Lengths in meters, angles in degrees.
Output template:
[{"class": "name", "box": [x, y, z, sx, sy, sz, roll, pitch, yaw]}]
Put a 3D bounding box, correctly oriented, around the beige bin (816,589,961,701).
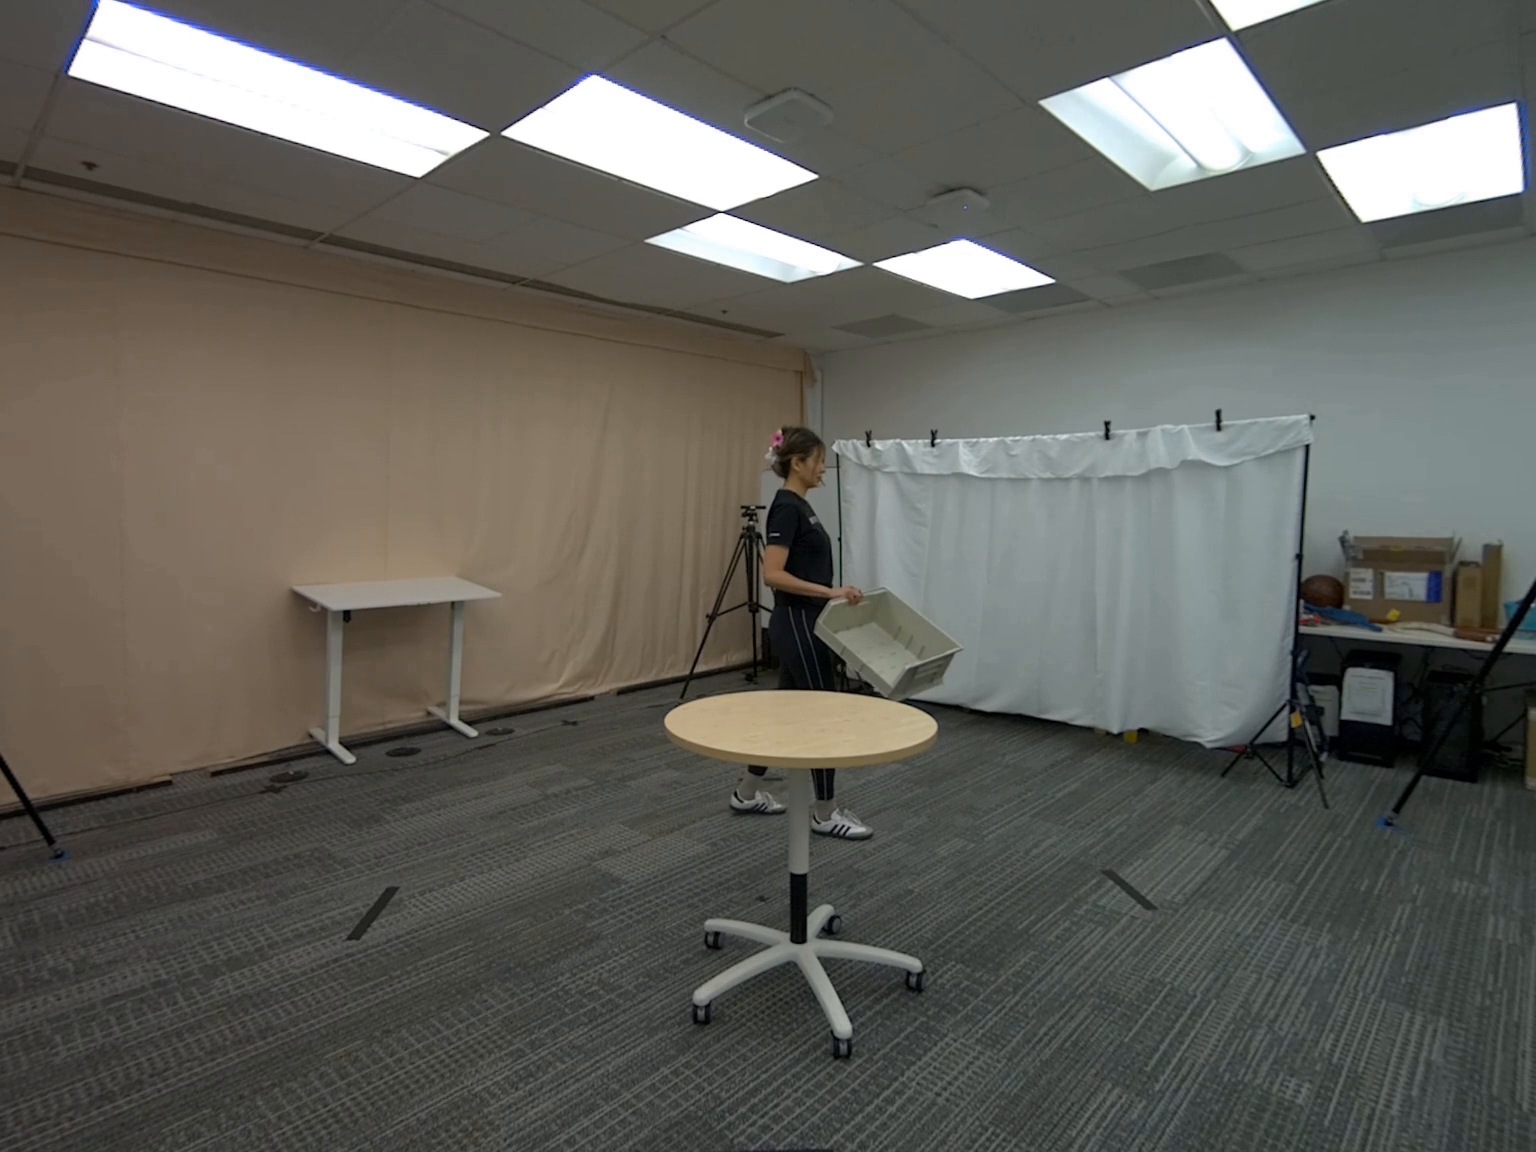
[{"class": "beige bin", "box": [0.461, 0.259, 3.271, 0.367, 0.187, 0.437, -11, 39, -40]}]
